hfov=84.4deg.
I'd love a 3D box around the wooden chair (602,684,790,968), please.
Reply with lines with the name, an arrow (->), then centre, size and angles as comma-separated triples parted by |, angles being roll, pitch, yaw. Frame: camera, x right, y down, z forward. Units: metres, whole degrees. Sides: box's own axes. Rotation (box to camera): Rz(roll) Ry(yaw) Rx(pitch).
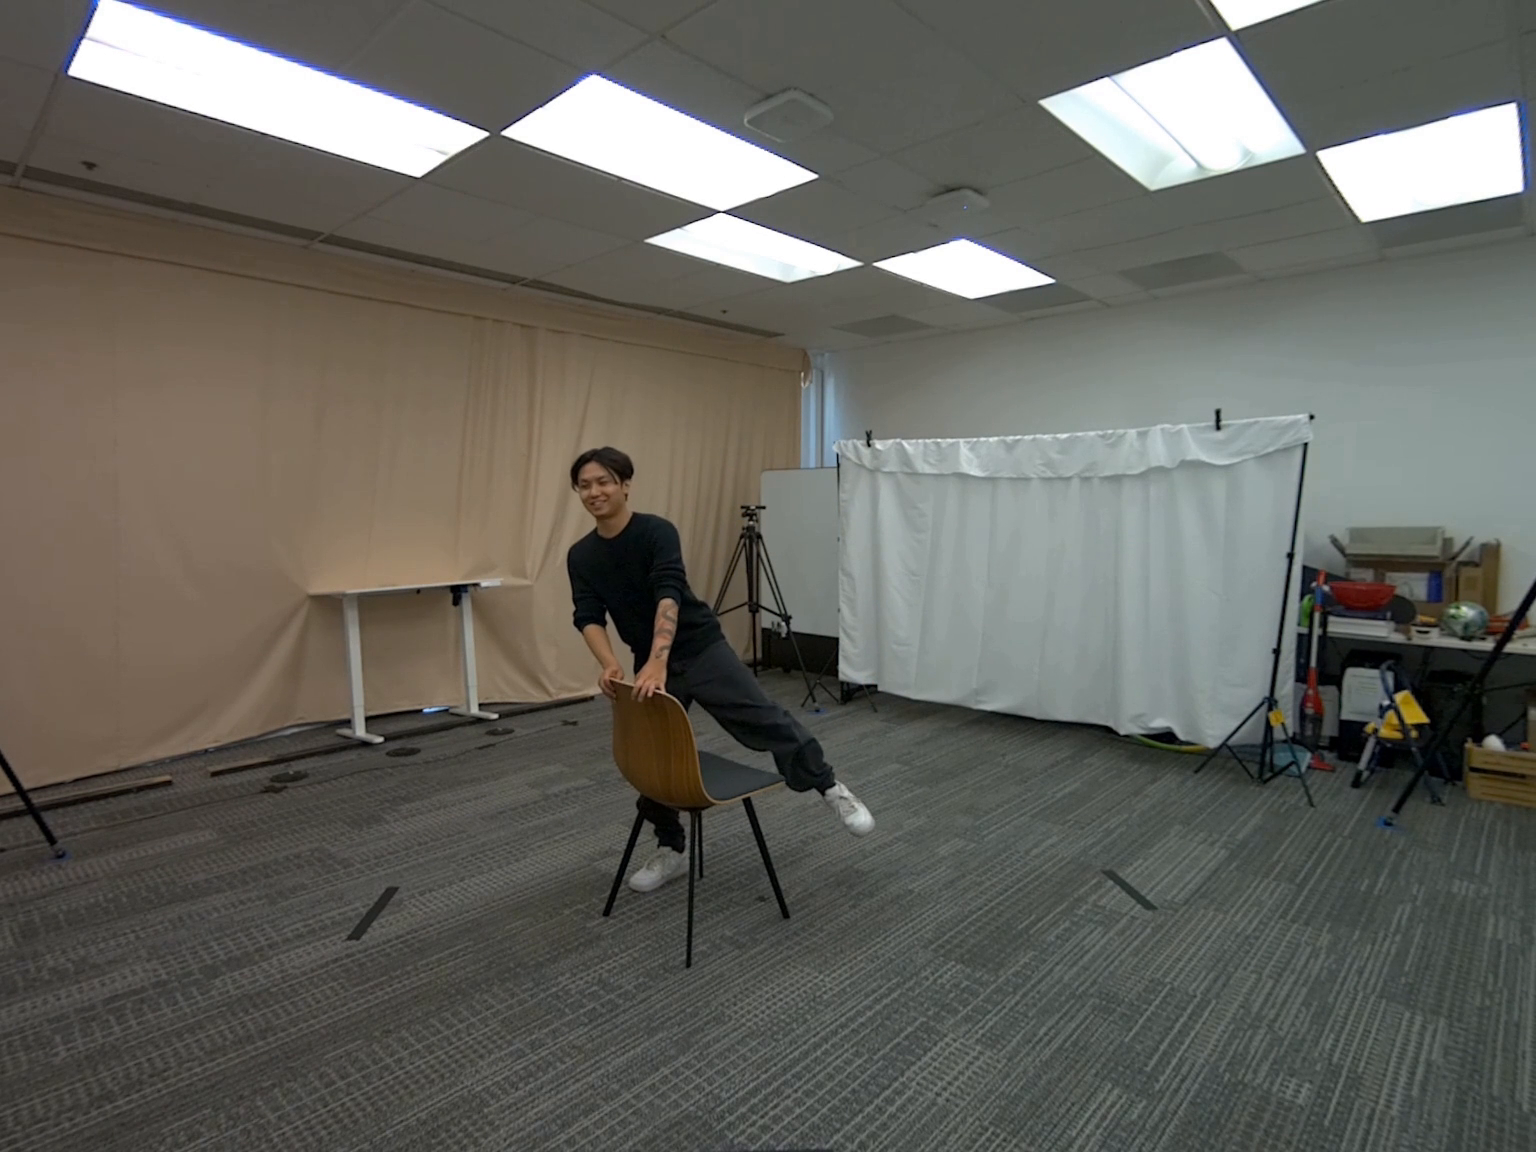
wooden chair -> -0.238, 0.728, 2.827 | 0.508, 0.873, 0.494 | -10, 8, -43
